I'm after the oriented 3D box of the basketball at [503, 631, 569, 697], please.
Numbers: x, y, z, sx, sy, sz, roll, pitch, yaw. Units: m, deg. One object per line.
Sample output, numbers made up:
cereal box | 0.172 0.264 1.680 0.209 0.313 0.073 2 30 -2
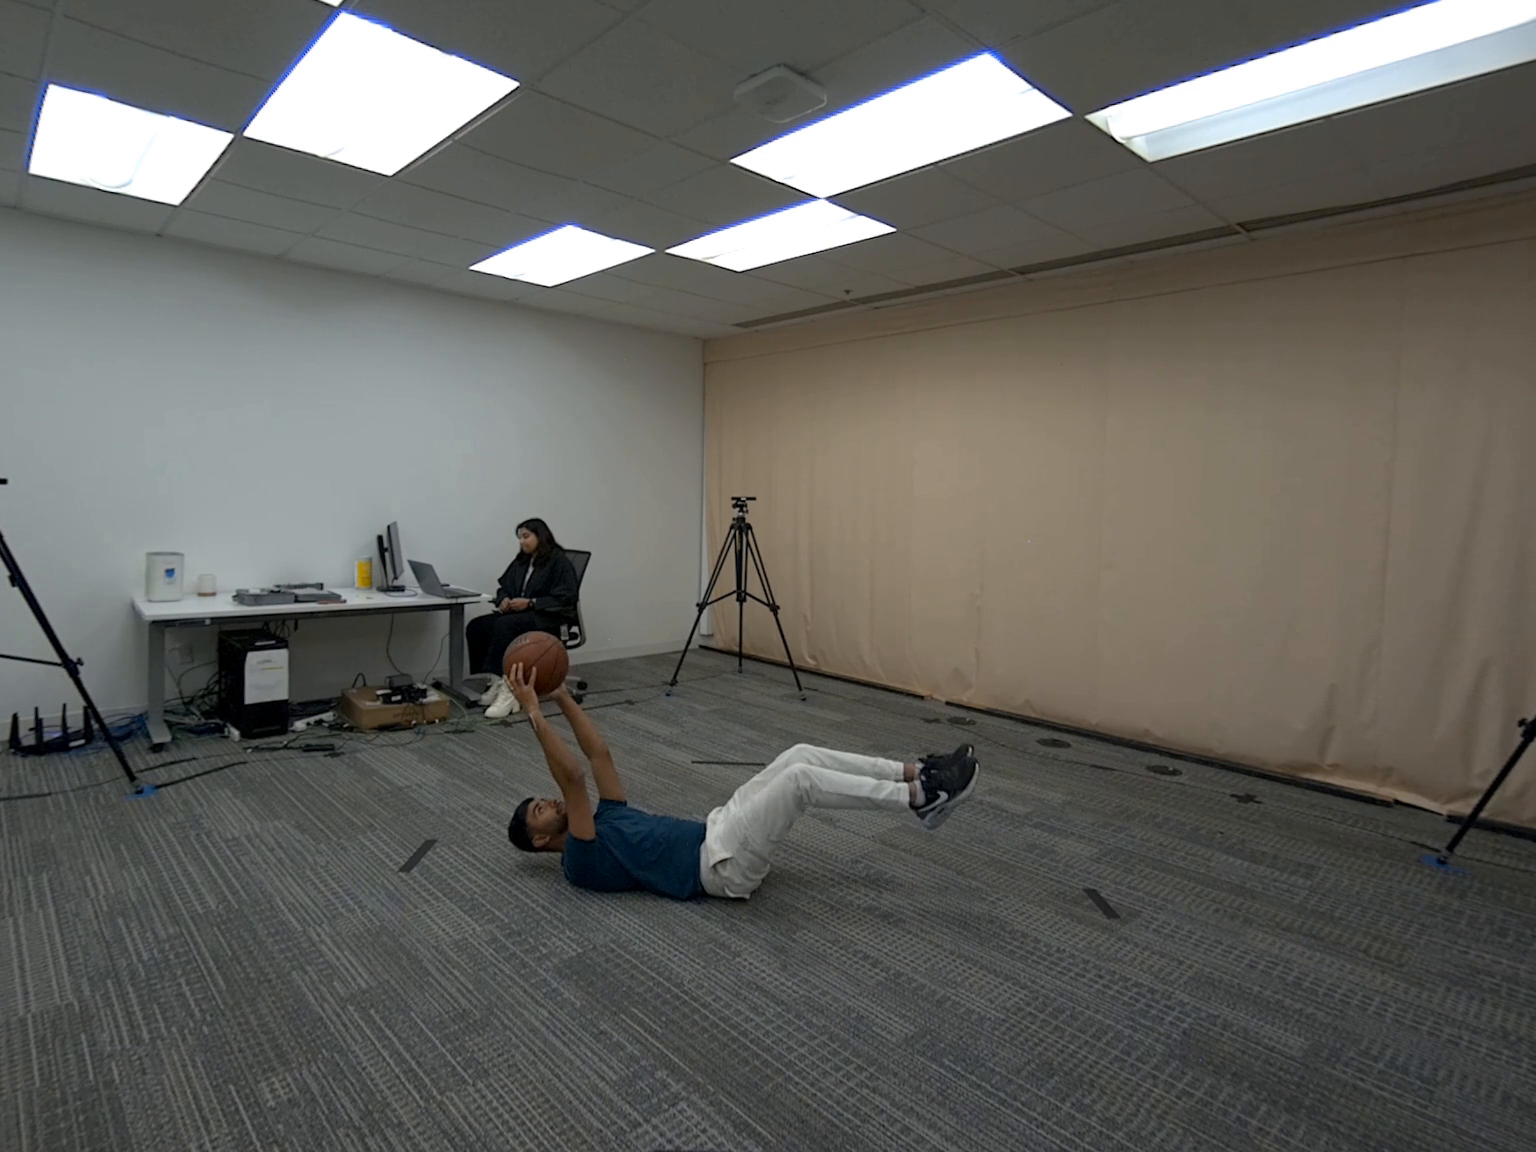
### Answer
basketball | -0.859 0.326 3.090 0.236 0.235 0.237 1 4 -1
